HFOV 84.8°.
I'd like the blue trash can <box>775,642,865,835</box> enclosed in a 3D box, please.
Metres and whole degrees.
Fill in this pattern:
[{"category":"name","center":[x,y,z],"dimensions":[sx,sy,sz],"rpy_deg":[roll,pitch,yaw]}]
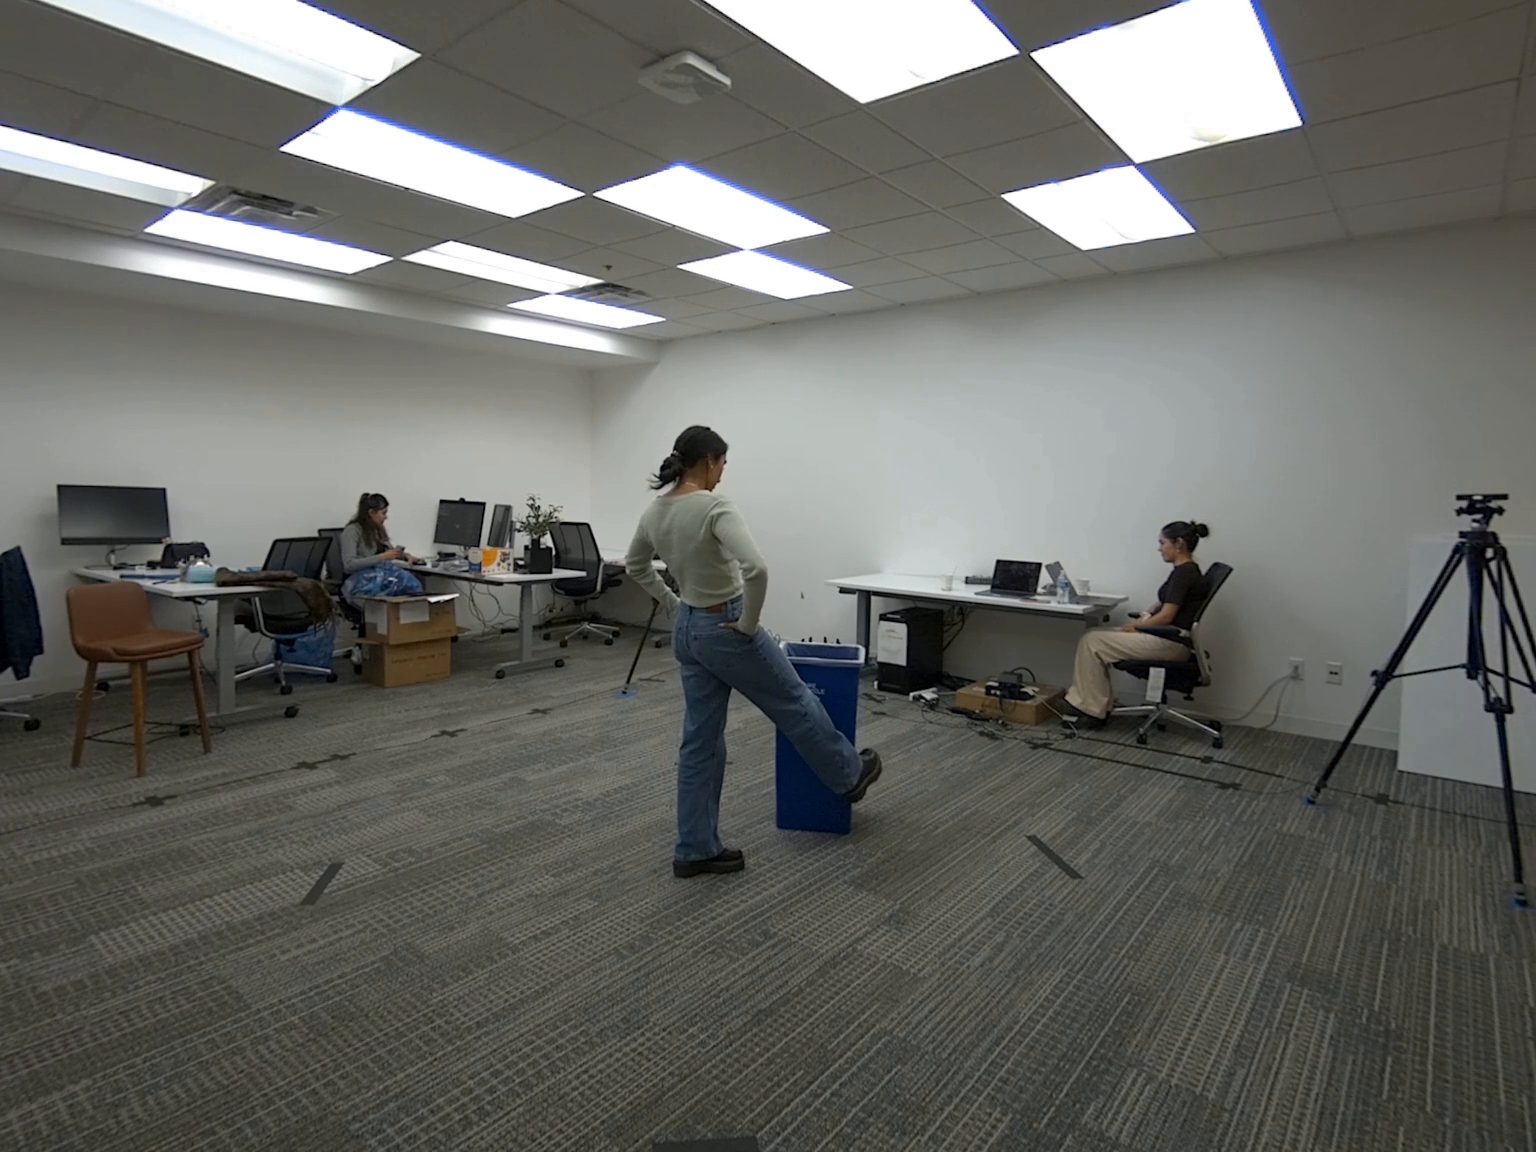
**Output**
[{"category":"blue trash can","center":[0.198,0.667,3.583],"dimensions":[0.381,0.712,0.372],"rpy_deg":[2,3,7]}]
